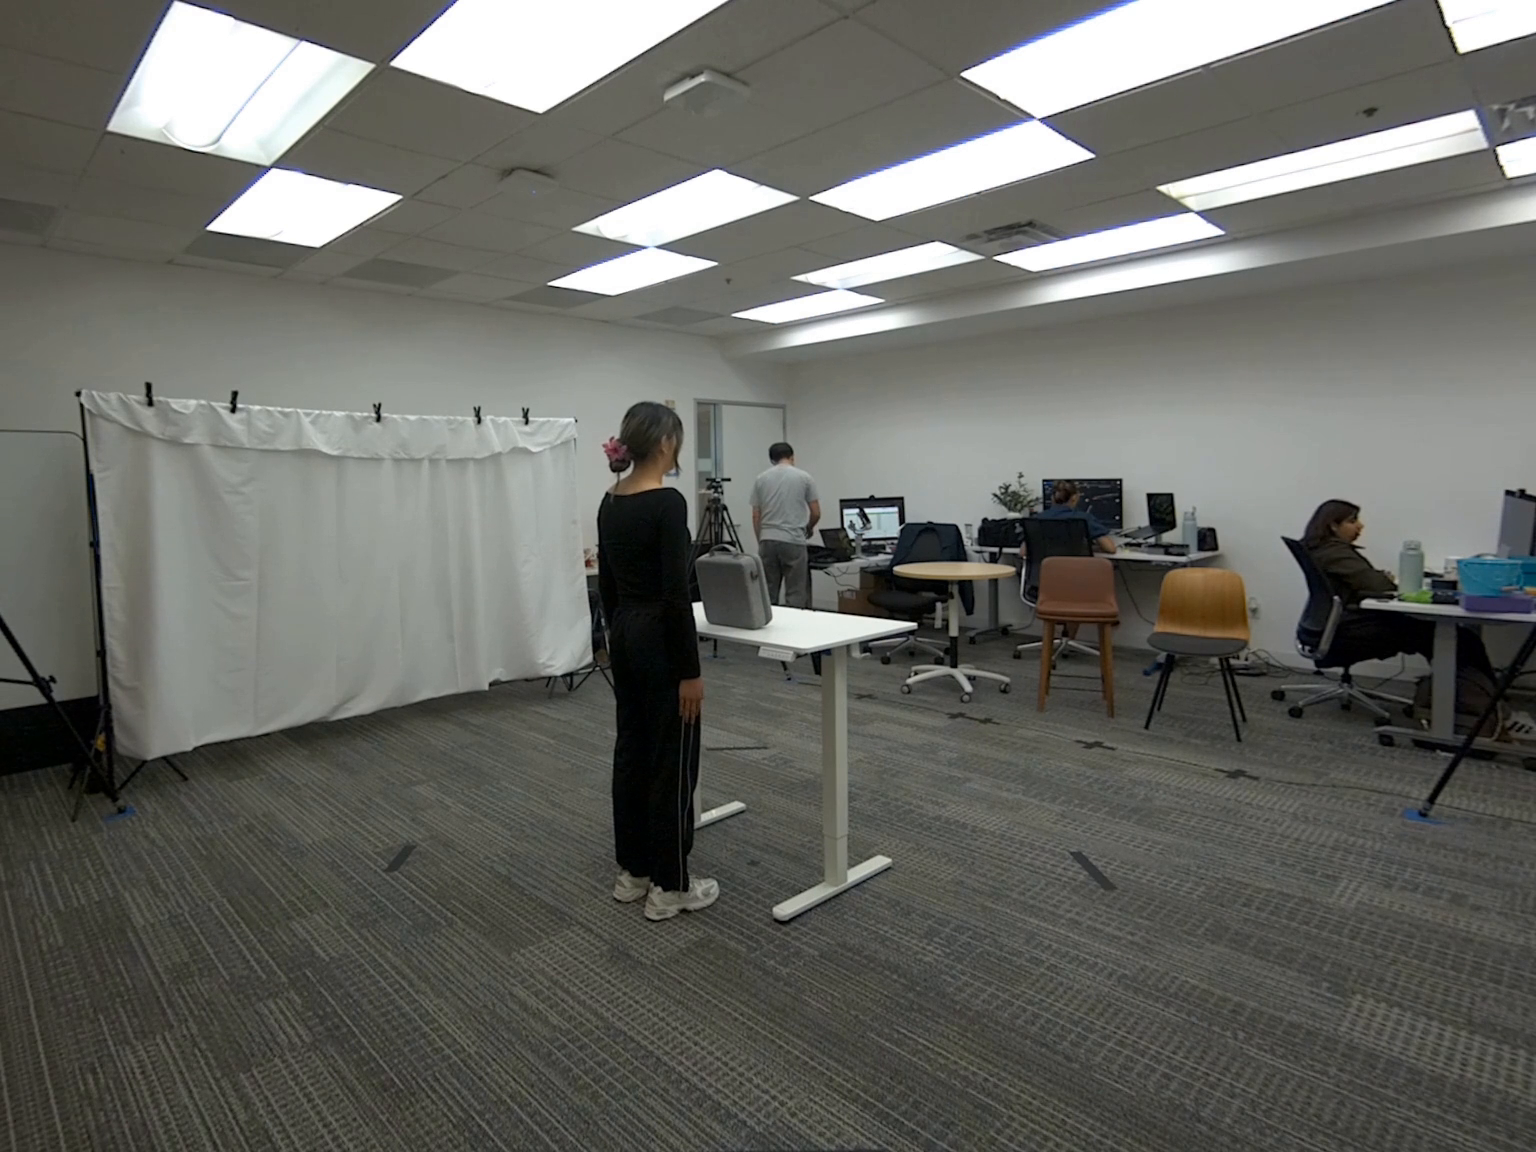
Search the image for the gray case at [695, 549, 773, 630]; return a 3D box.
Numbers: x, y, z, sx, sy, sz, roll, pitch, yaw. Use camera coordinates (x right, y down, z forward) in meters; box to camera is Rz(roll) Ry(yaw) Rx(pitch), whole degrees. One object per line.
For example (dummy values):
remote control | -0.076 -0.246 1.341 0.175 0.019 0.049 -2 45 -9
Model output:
gray case | -0.117 0.045 2.955 0.102 0.258 0.265 -19 15 -41
